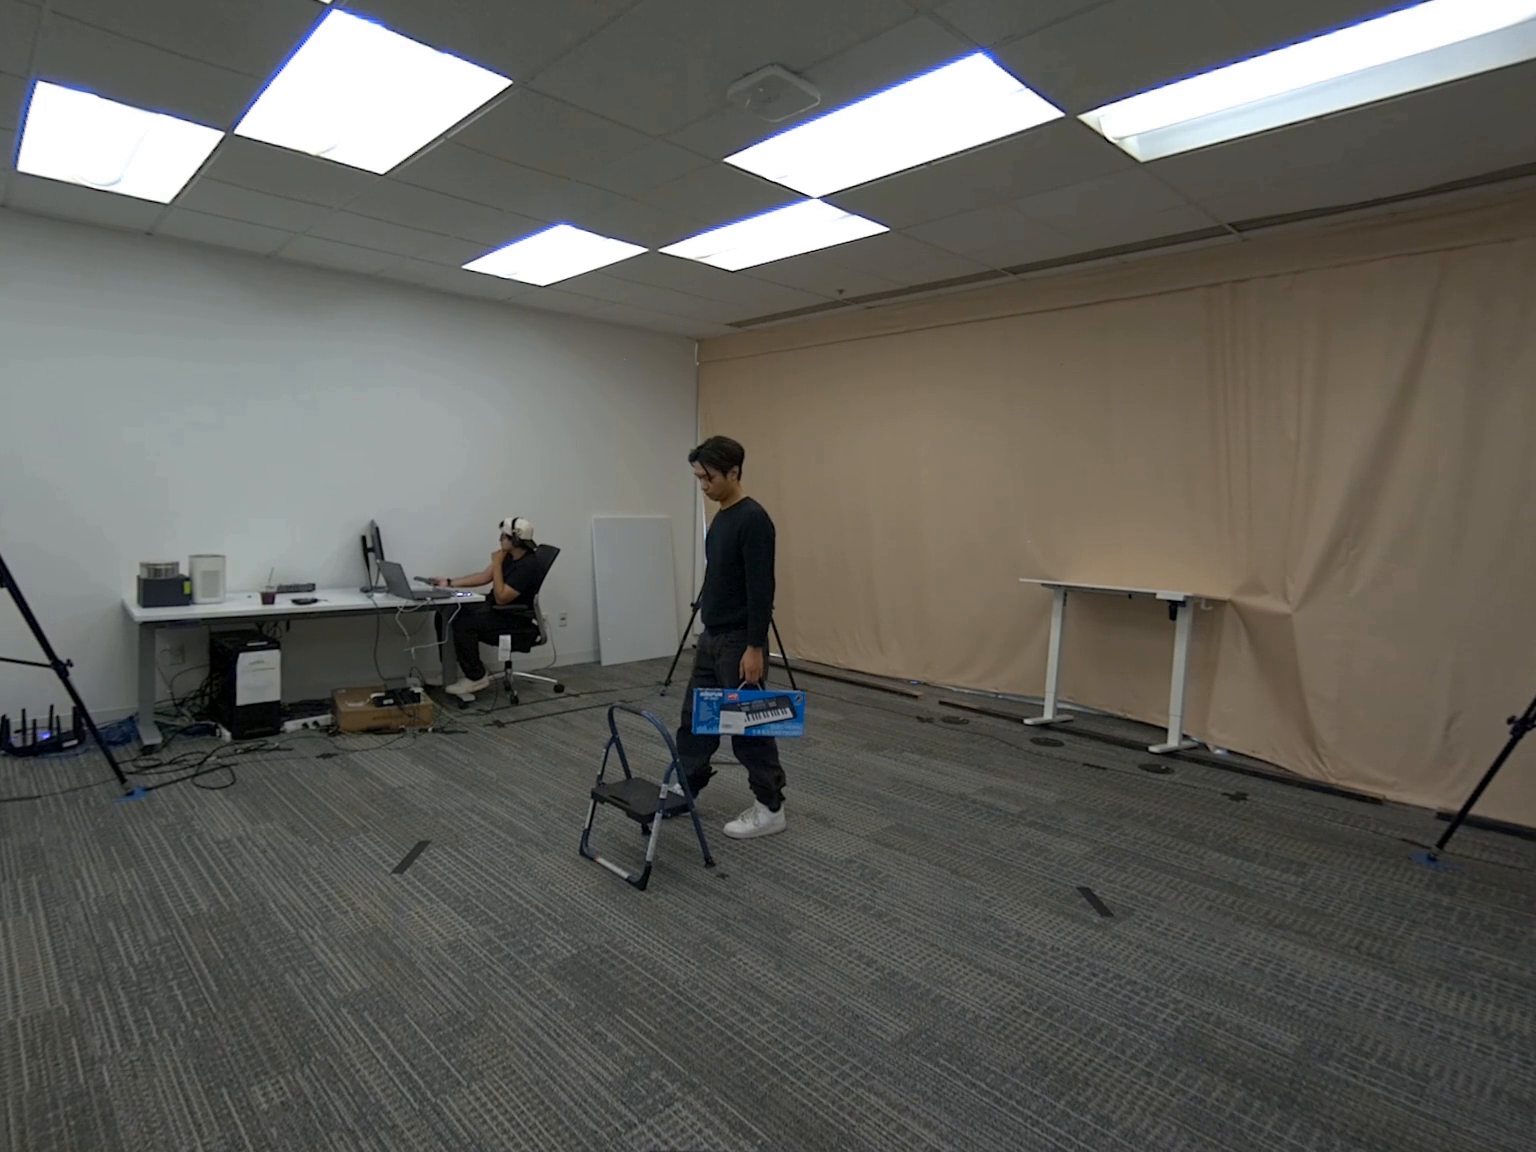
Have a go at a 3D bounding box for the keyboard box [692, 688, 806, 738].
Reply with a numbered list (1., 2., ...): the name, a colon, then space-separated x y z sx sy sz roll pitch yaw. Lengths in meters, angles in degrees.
1. keyboard box: -0.085 0.531 3.298 0.432 0.176 0.059 3 -4 -14
